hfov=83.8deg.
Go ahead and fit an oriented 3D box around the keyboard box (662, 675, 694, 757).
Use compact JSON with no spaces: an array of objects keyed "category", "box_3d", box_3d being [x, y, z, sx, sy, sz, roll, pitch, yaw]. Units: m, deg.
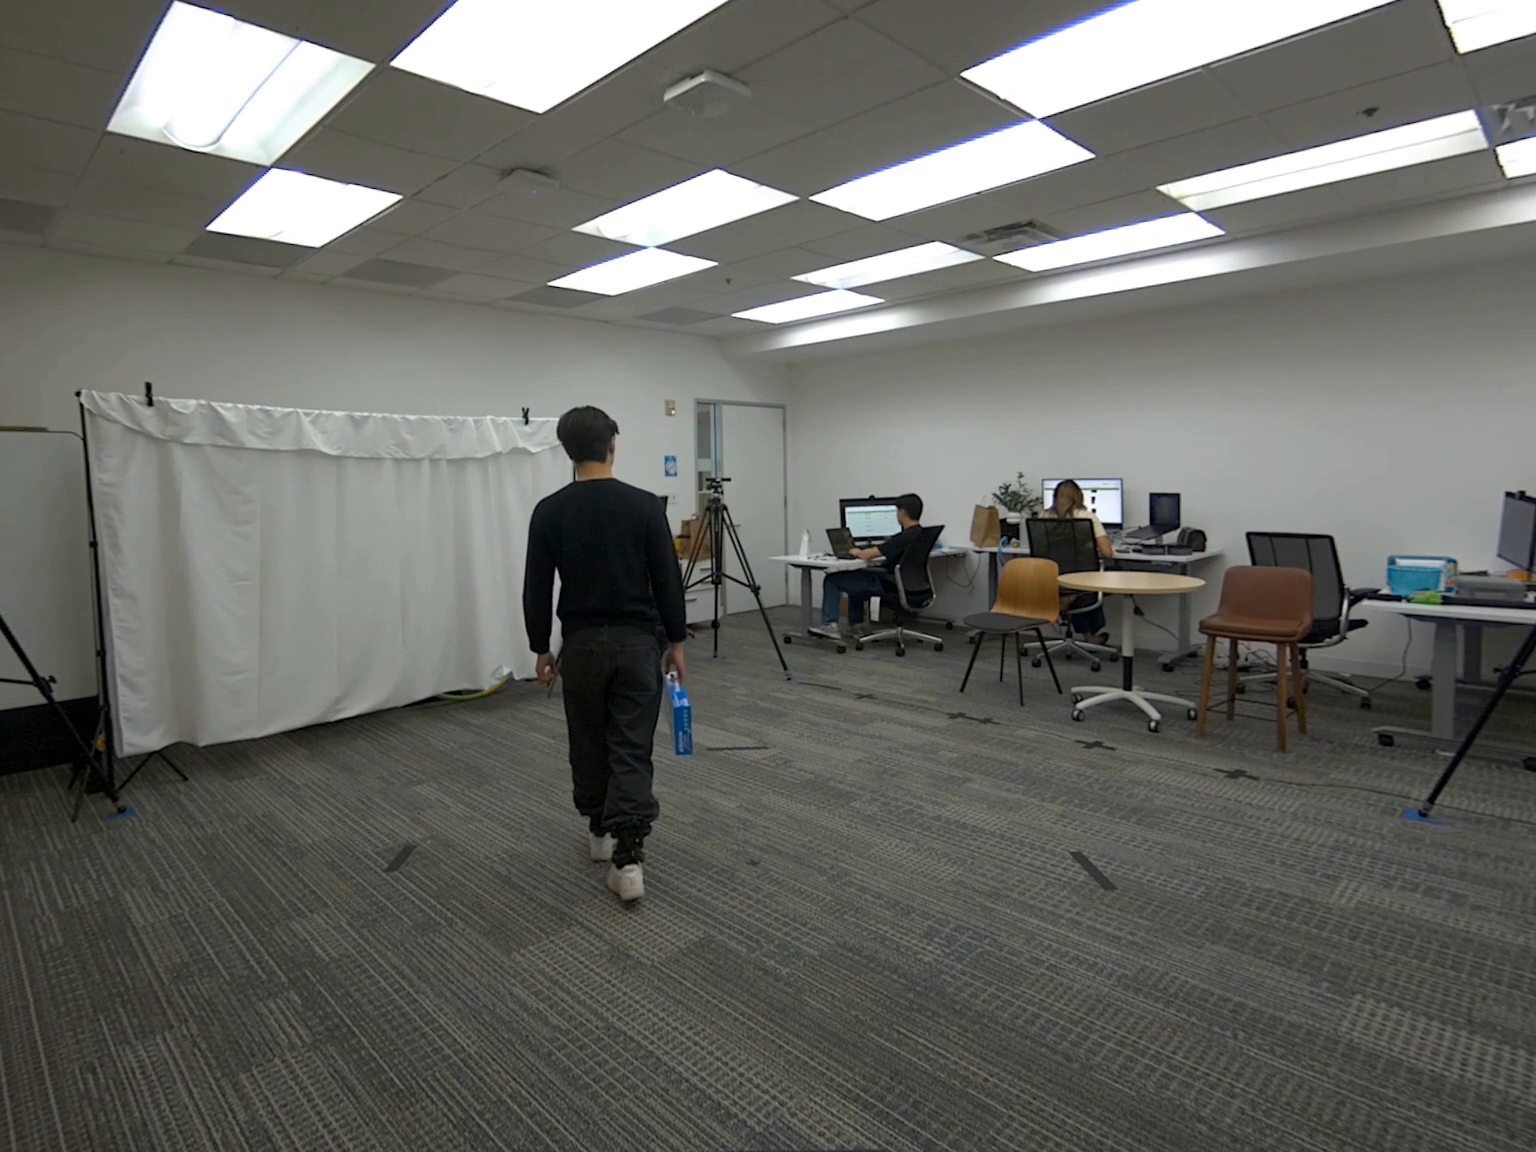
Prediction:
[{"category":"keyboard box","box_3d":[-0.332,0.491,3.124,0.058,0.174,0.444,-3,10,-11]}]
